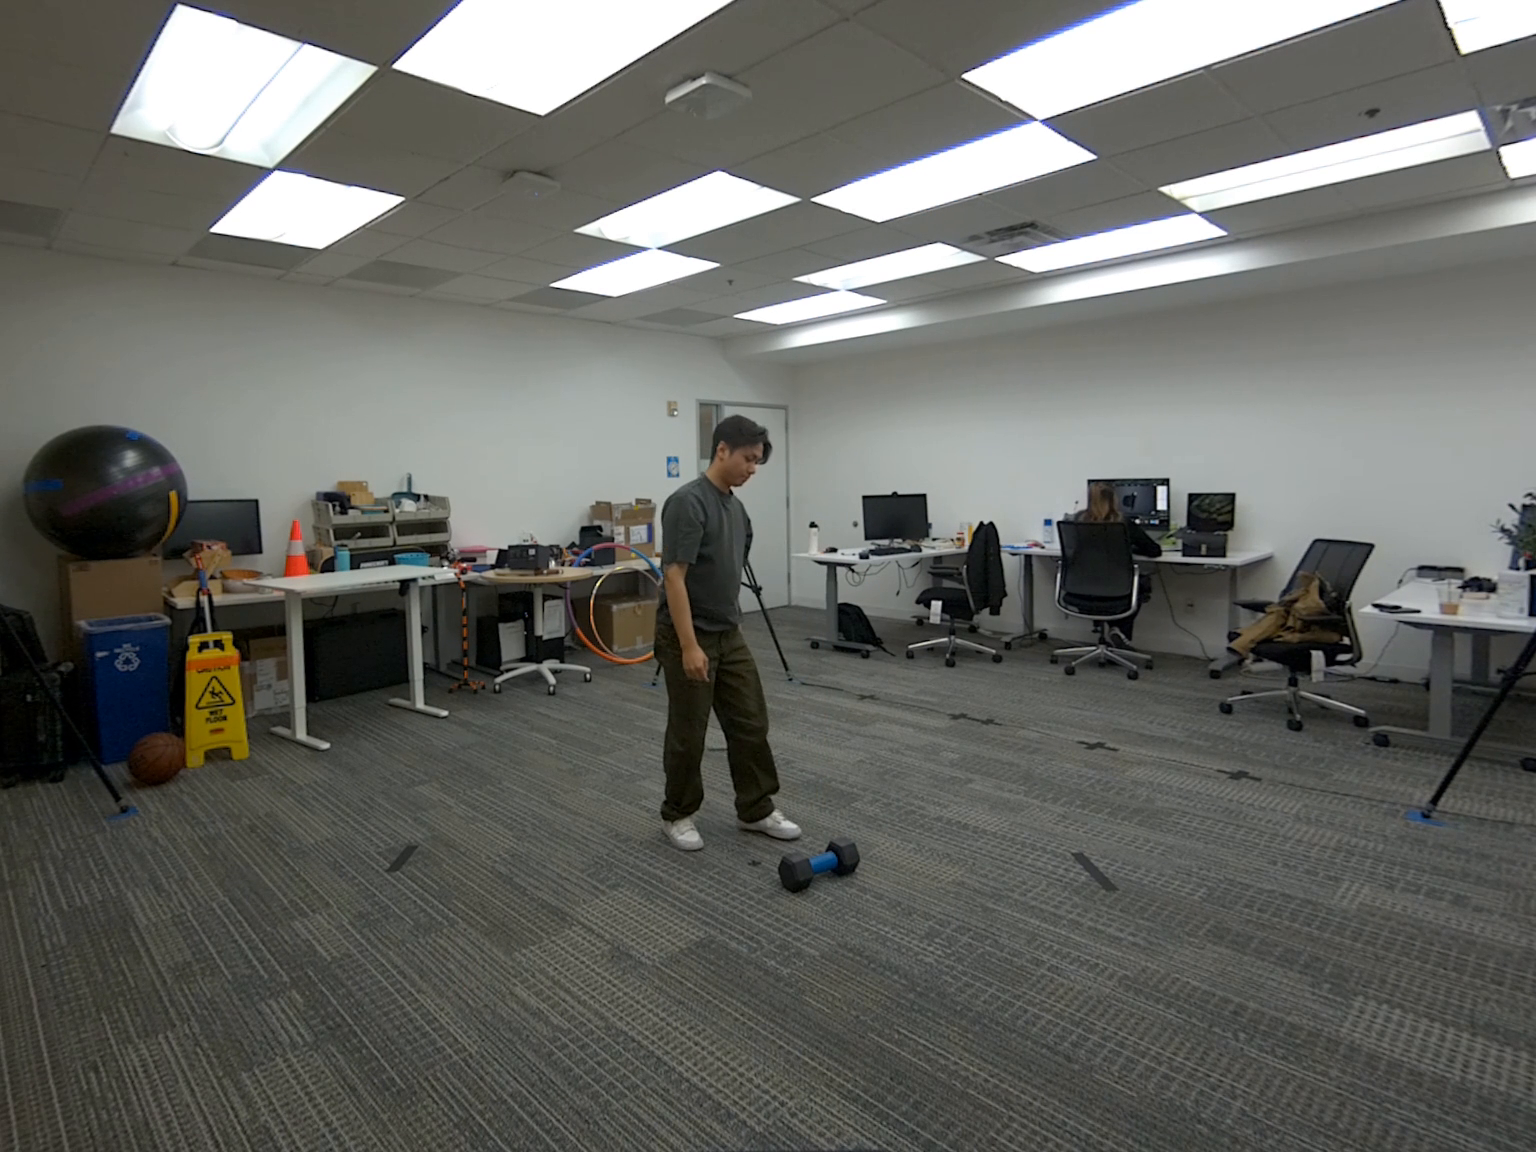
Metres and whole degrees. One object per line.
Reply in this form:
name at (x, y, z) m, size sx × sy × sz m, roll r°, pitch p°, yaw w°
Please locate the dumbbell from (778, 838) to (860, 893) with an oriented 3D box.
dumbbell at (0.183, 0.999, 2.970) m, size 0.286 × 0.121 × 0.113 m, roll -4°, pitch 39°, yaw -34°
